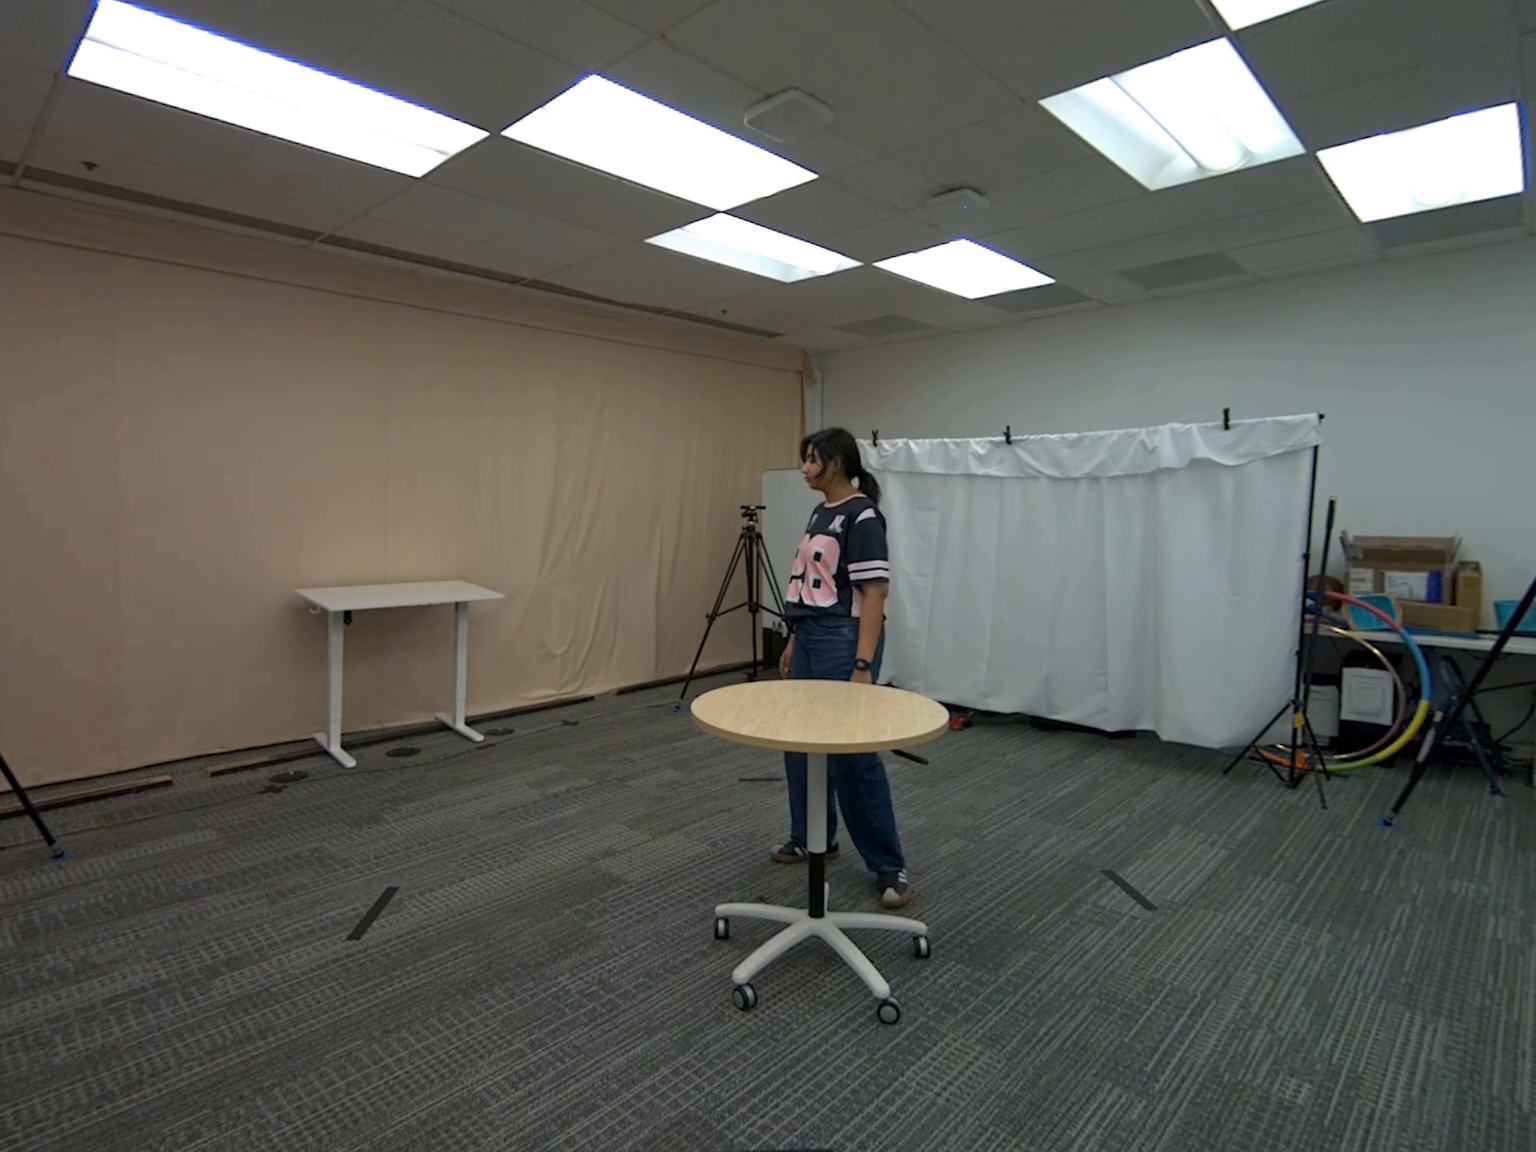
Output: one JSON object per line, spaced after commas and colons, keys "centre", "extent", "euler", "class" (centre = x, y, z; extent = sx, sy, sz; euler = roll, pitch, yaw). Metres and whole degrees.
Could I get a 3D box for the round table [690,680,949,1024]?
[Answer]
{"centre": [0.165, 0.786, 2.552], "extent": [0.784, 0.785, 0.788], "euler": [0, 4, -2], "class": "round table"}
